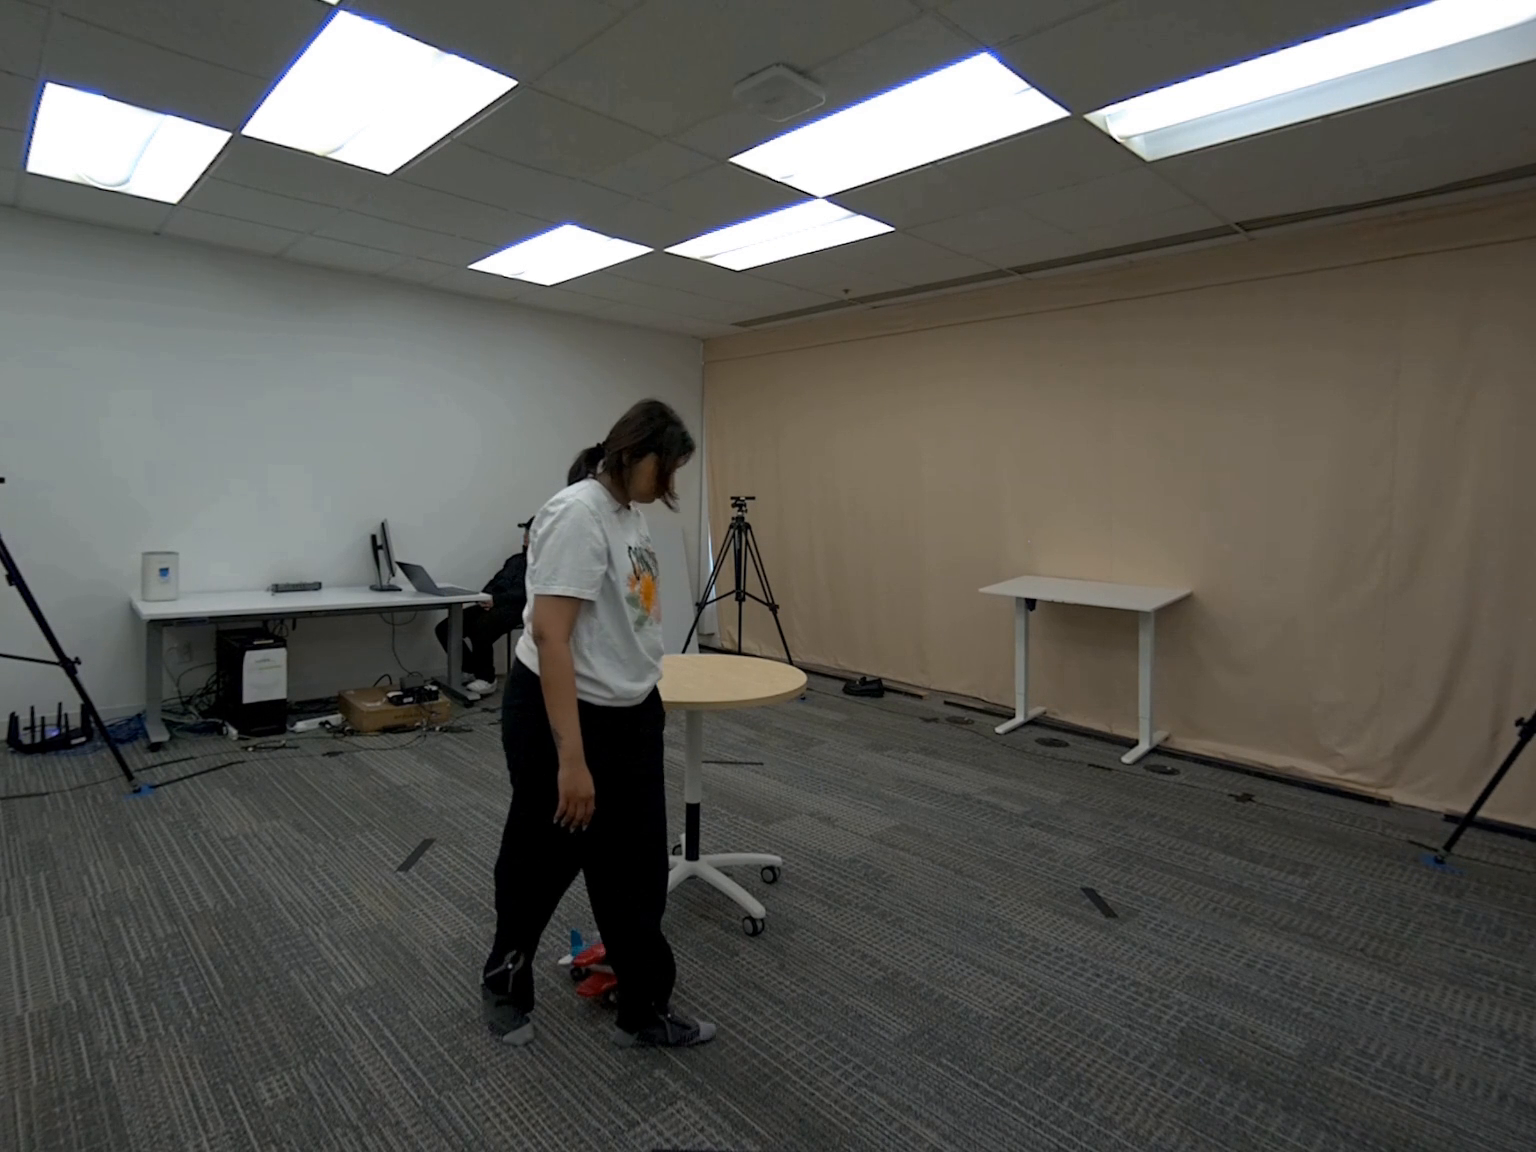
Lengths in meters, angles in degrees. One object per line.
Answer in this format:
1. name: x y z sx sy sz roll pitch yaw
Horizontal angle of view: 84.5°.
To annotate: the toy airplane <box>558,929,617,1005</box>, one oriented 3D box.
1. toy airplane: -0.477 1.097 2.348 0.261 0.156 0.250 2 5 8
